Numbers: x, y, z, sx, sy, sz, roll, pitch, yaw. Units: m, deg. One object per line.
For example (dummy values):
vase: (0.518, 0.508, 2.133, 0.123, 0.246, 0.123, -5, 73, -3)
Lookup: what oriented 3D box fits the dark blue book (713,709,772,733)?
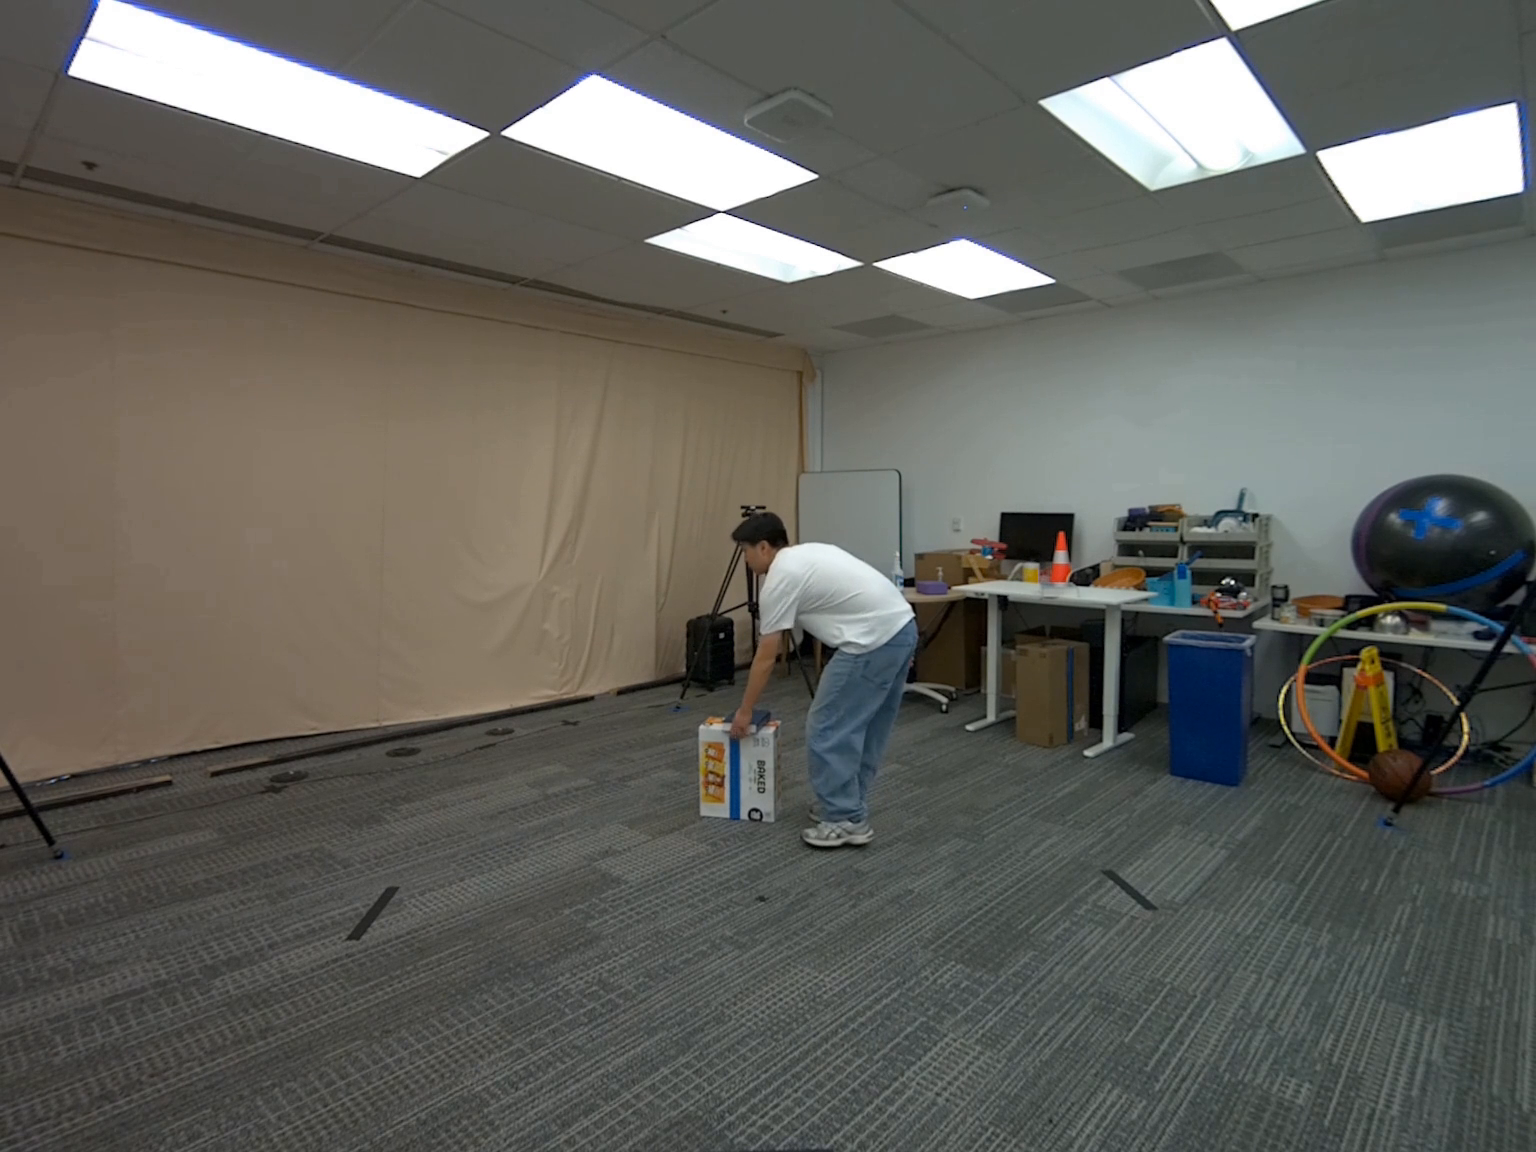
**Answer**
dark blue book: (-0.095, 0.656, 3.822, 0.166, 0.045, 0.241, 0, 6, 16)
